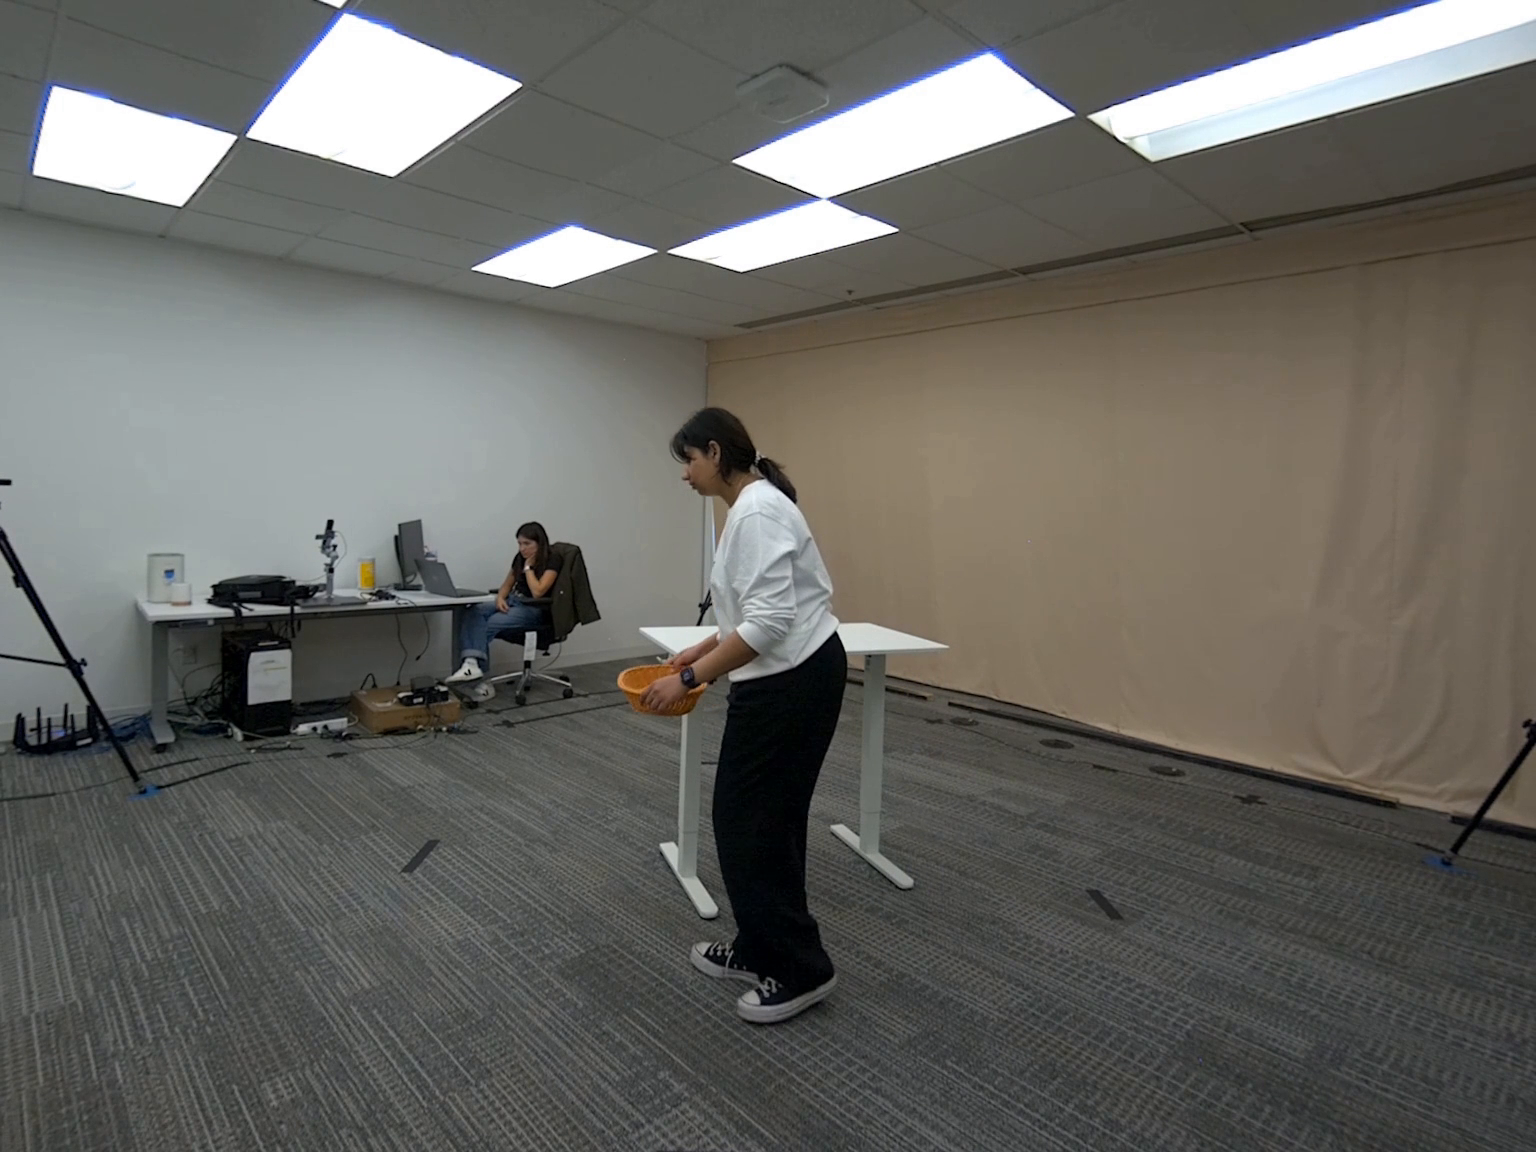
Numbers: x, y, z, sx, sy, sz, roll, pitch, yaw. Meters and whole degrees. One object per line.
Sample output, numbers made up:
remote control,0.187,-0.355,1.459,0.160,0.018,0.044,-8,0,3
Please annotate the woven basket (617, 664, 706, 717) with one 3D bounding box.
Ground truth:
woven basket,-0.288,0.329,2.361,0.250,0.073,0.354,-2,7,-10
